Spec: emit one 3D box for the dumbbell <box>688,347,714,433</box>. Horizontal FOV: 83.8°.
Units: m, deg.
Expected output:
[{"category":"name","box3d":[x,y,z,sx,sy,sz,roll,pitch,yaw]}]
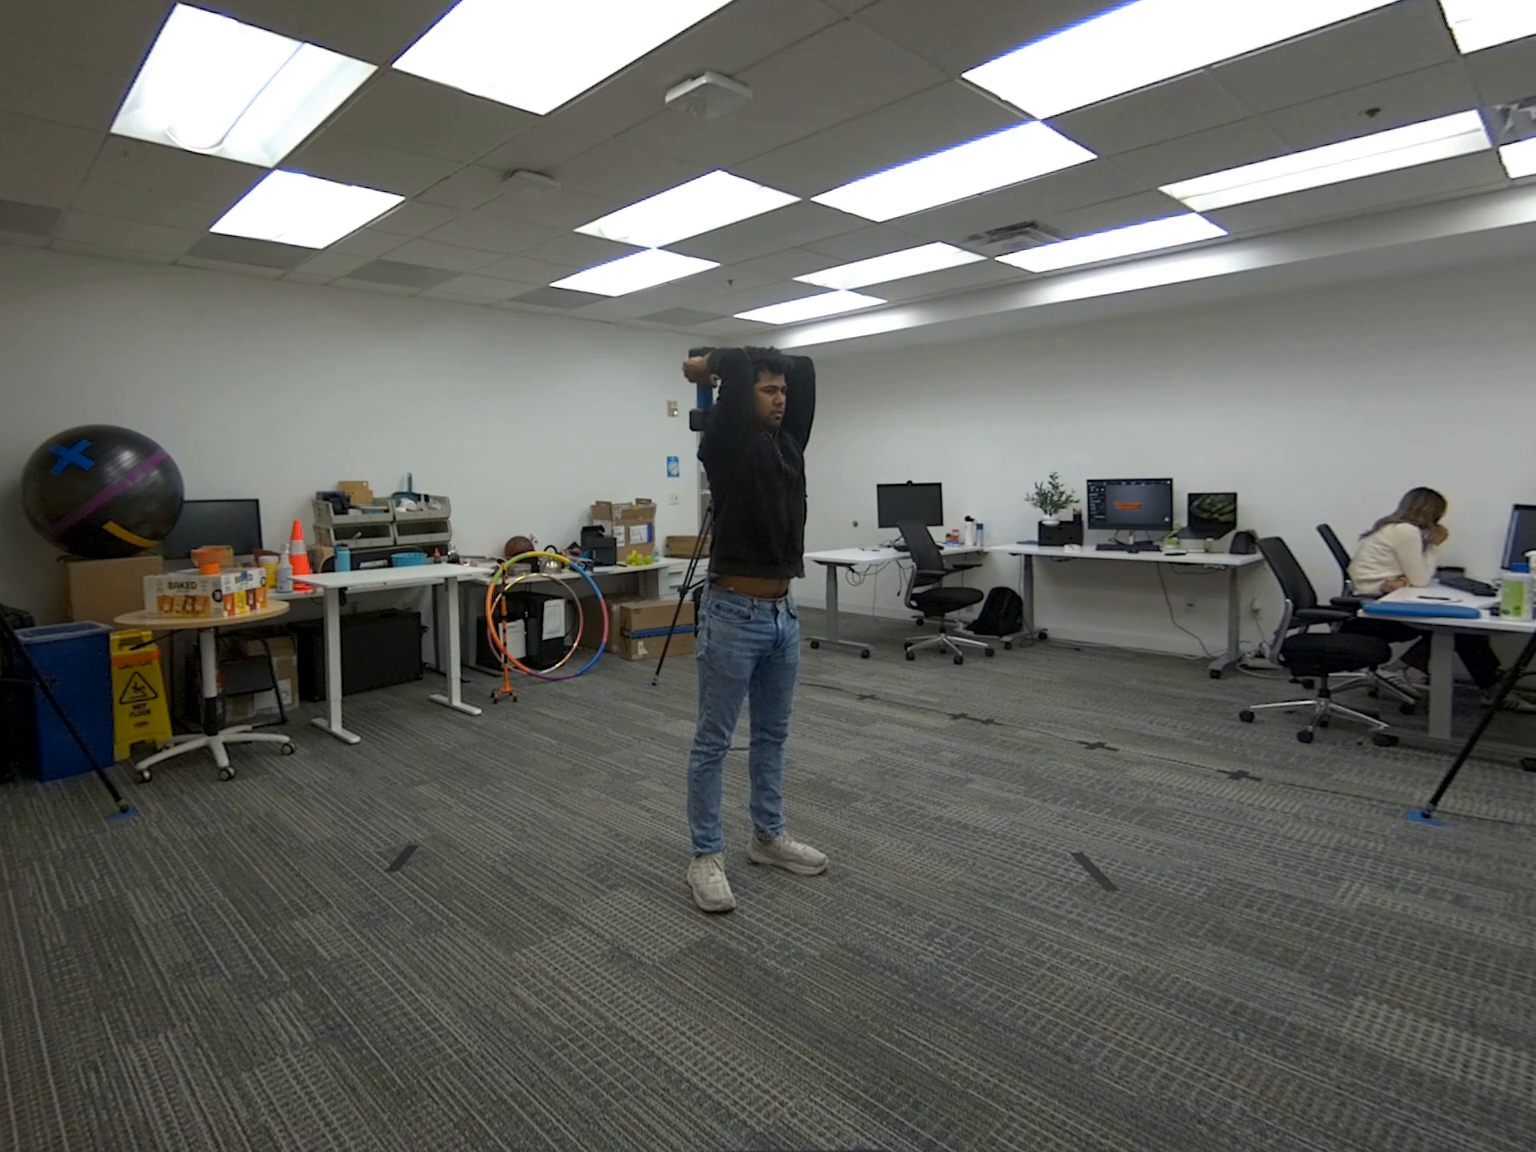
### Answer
[{"category":"dumbbell","box3d":[-0.207,-0.662,3.017,0.120,0.292,0.112,-1,6,-35]}]
